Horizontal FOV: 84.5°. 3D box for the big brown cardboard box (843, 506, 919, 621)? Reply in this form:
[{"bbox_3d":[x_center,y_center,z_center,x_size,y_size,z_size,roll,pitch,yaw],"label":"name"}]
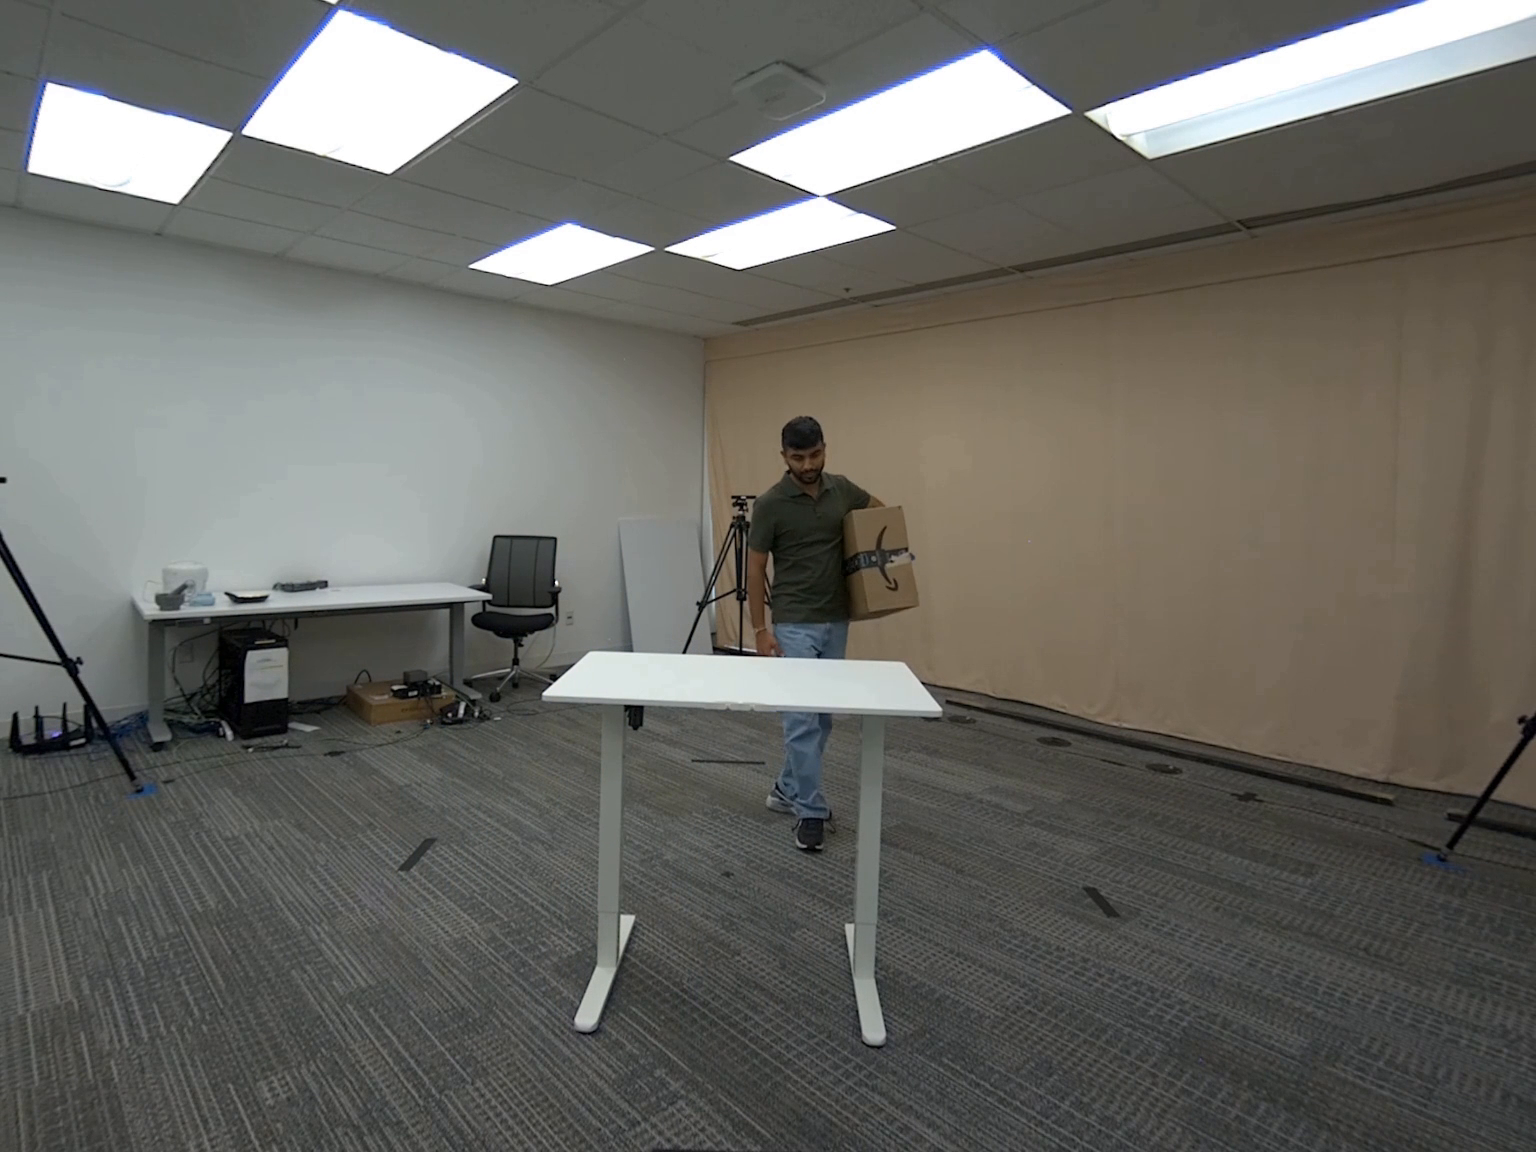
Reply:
[{"bbox_3d":[0.414,-0.032,3.639,0.232,0.420,0.589,-7,-7,-10],"label":"big brown cardboard box"}]
